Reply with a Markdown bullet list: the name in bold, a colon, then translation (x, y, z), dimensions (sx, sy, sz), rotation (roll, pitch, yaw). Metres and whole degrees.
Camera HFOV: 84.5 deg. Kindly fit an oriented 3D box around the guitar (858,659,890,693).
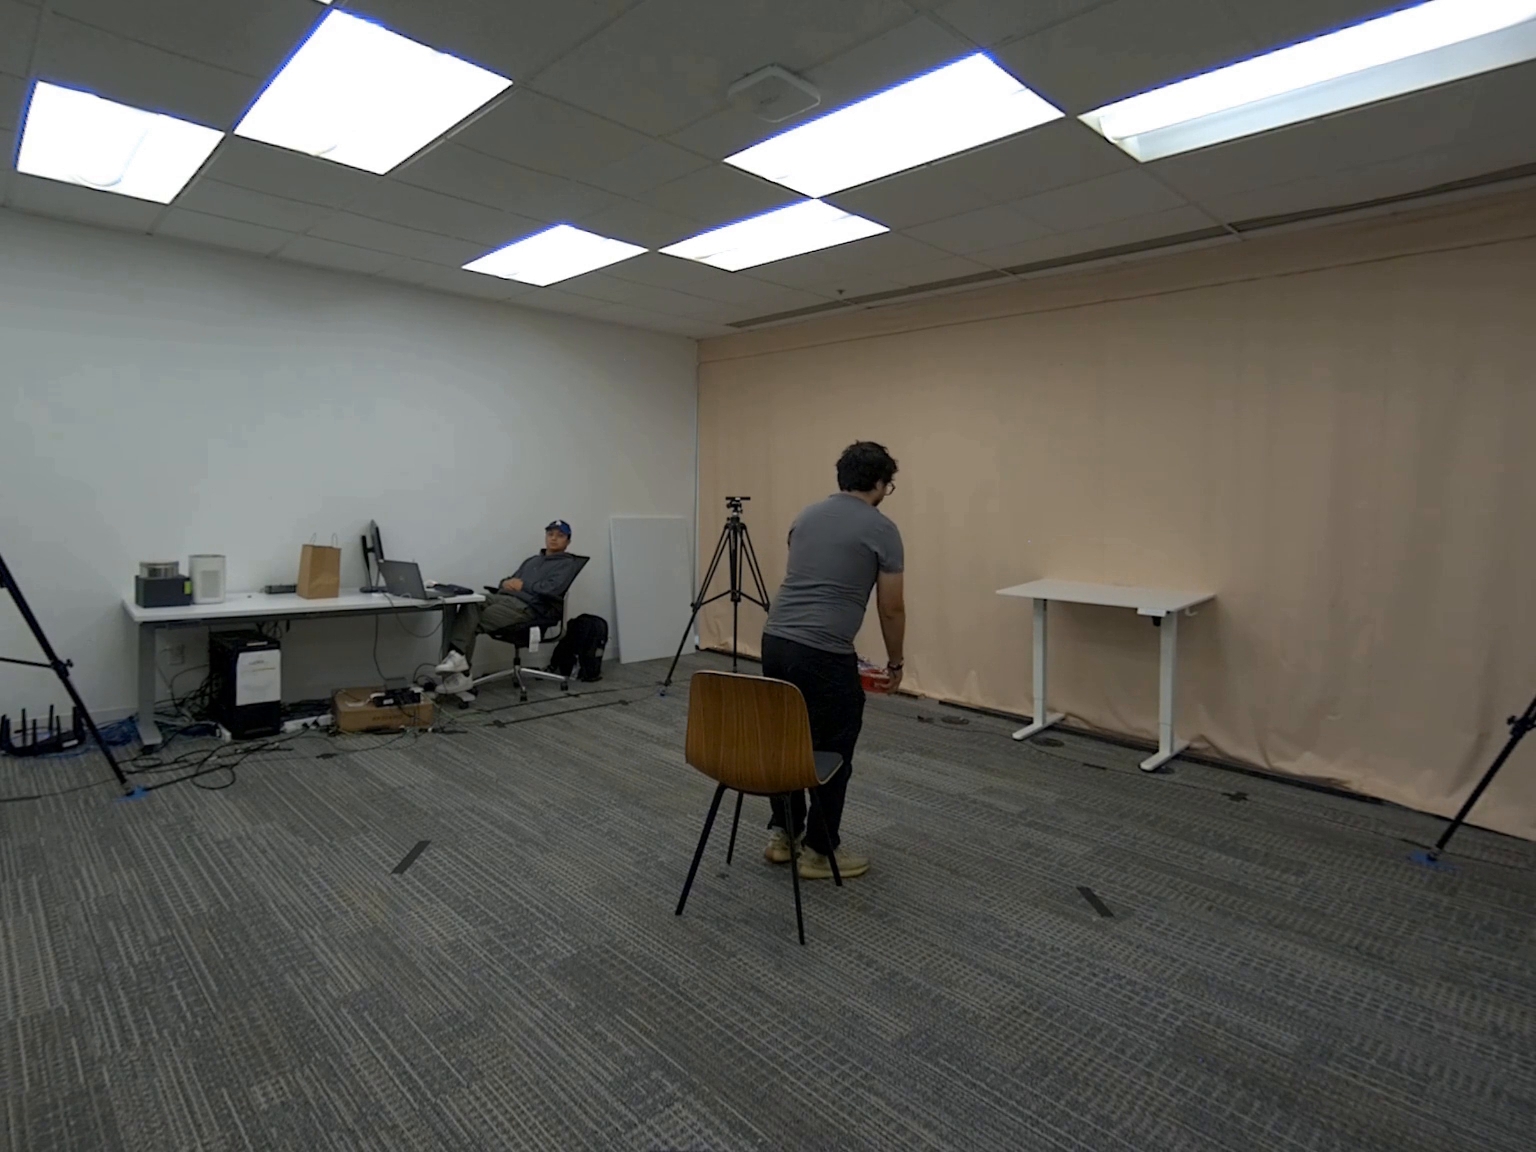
- **guitar**: translation (0.353, 0.354, 3.472), dimensions (0.191, 0.070, 0.507), rotation (11, 14, -14)
